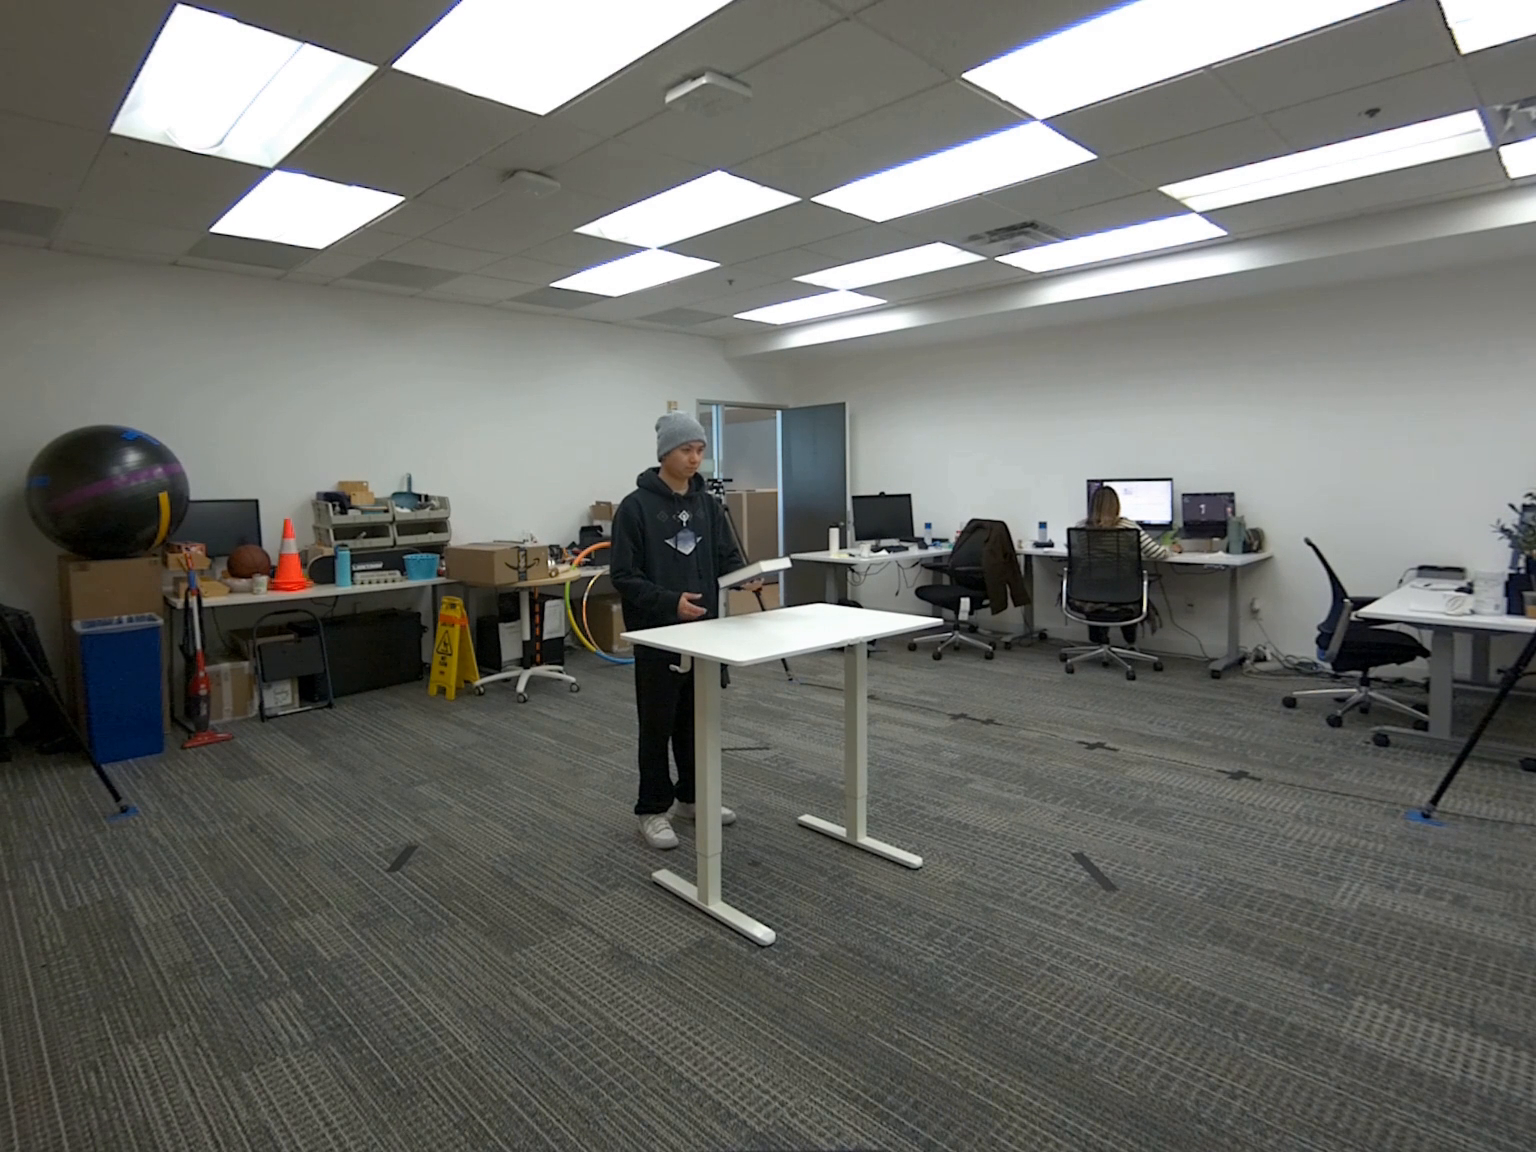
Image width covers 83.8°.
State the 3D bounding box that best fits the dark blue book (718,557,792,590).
[{"bbox_3d":[-0.047,-0.011,3.131,0.249,0.045,0.159,-20,-8,43],"label":"dark blue book"}]
